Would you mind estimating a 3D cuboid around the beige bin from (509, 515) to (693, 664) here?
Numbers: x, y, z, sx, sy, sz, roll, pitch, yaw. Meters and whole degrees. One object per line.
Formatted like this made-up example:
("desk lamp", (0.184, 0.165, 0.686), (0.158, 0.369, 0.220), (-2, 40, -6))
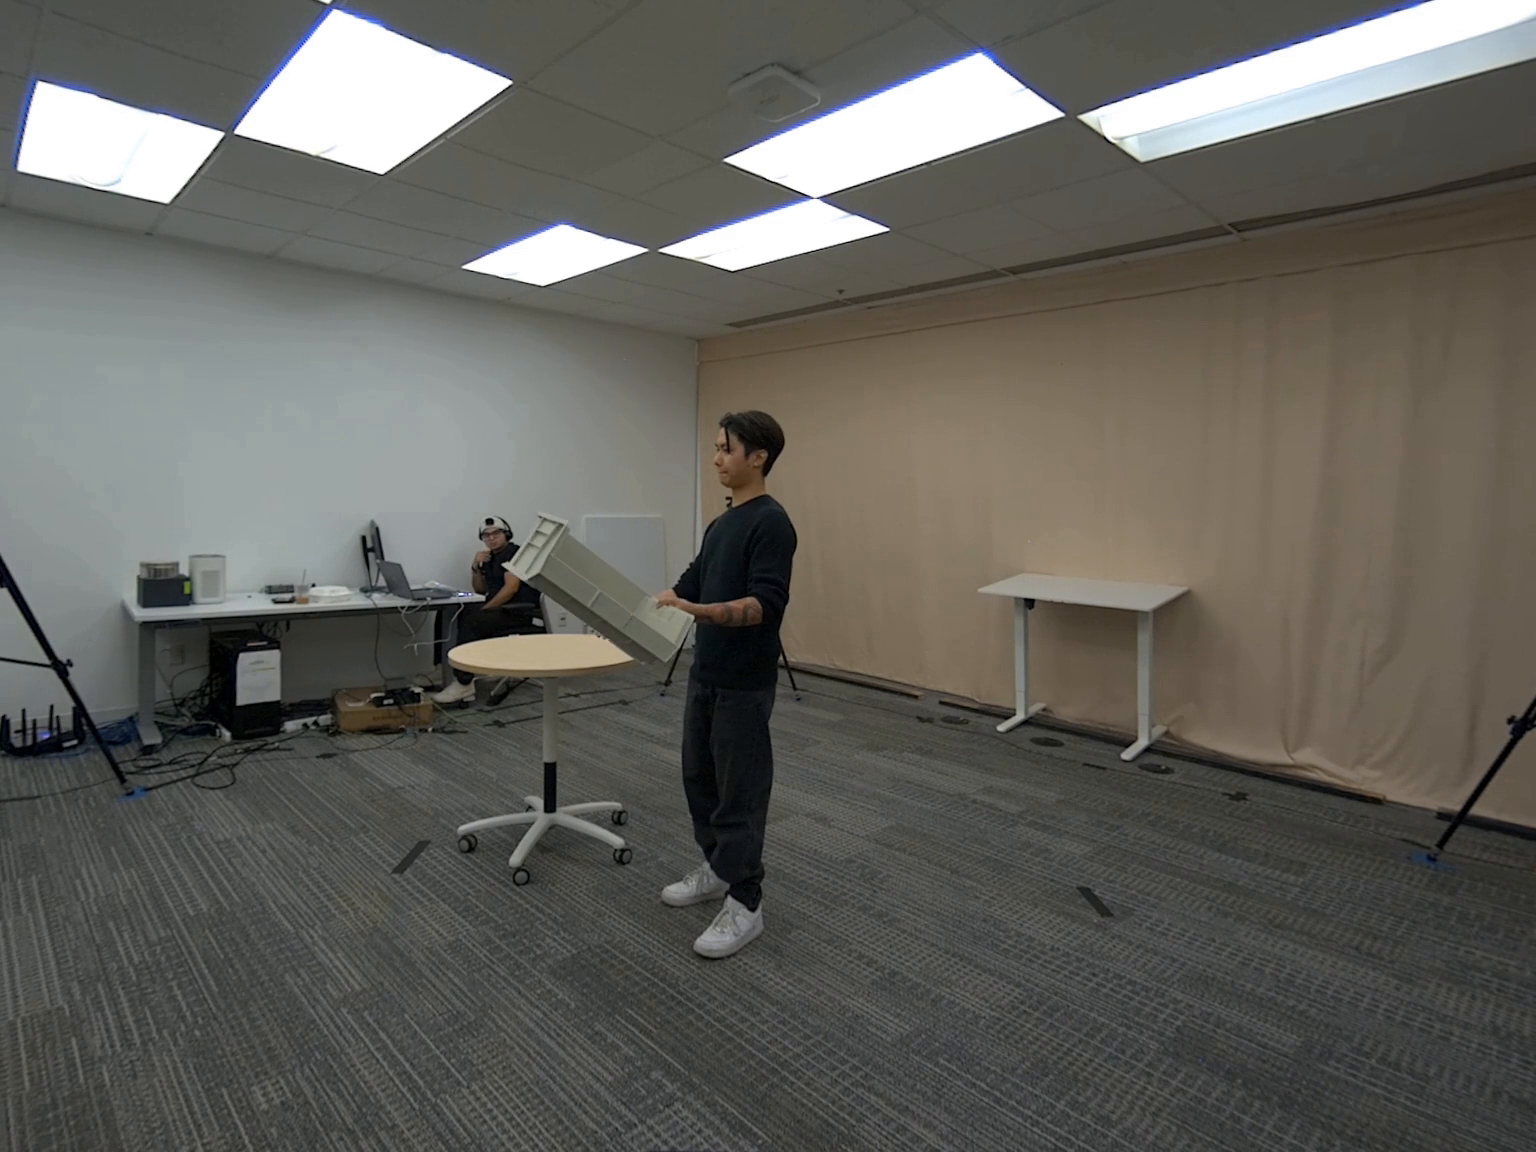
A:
("beige bin", (-0.465, 0.044, 2.222), (0.412, 0.189, 0.386), (39, -10, -24))
